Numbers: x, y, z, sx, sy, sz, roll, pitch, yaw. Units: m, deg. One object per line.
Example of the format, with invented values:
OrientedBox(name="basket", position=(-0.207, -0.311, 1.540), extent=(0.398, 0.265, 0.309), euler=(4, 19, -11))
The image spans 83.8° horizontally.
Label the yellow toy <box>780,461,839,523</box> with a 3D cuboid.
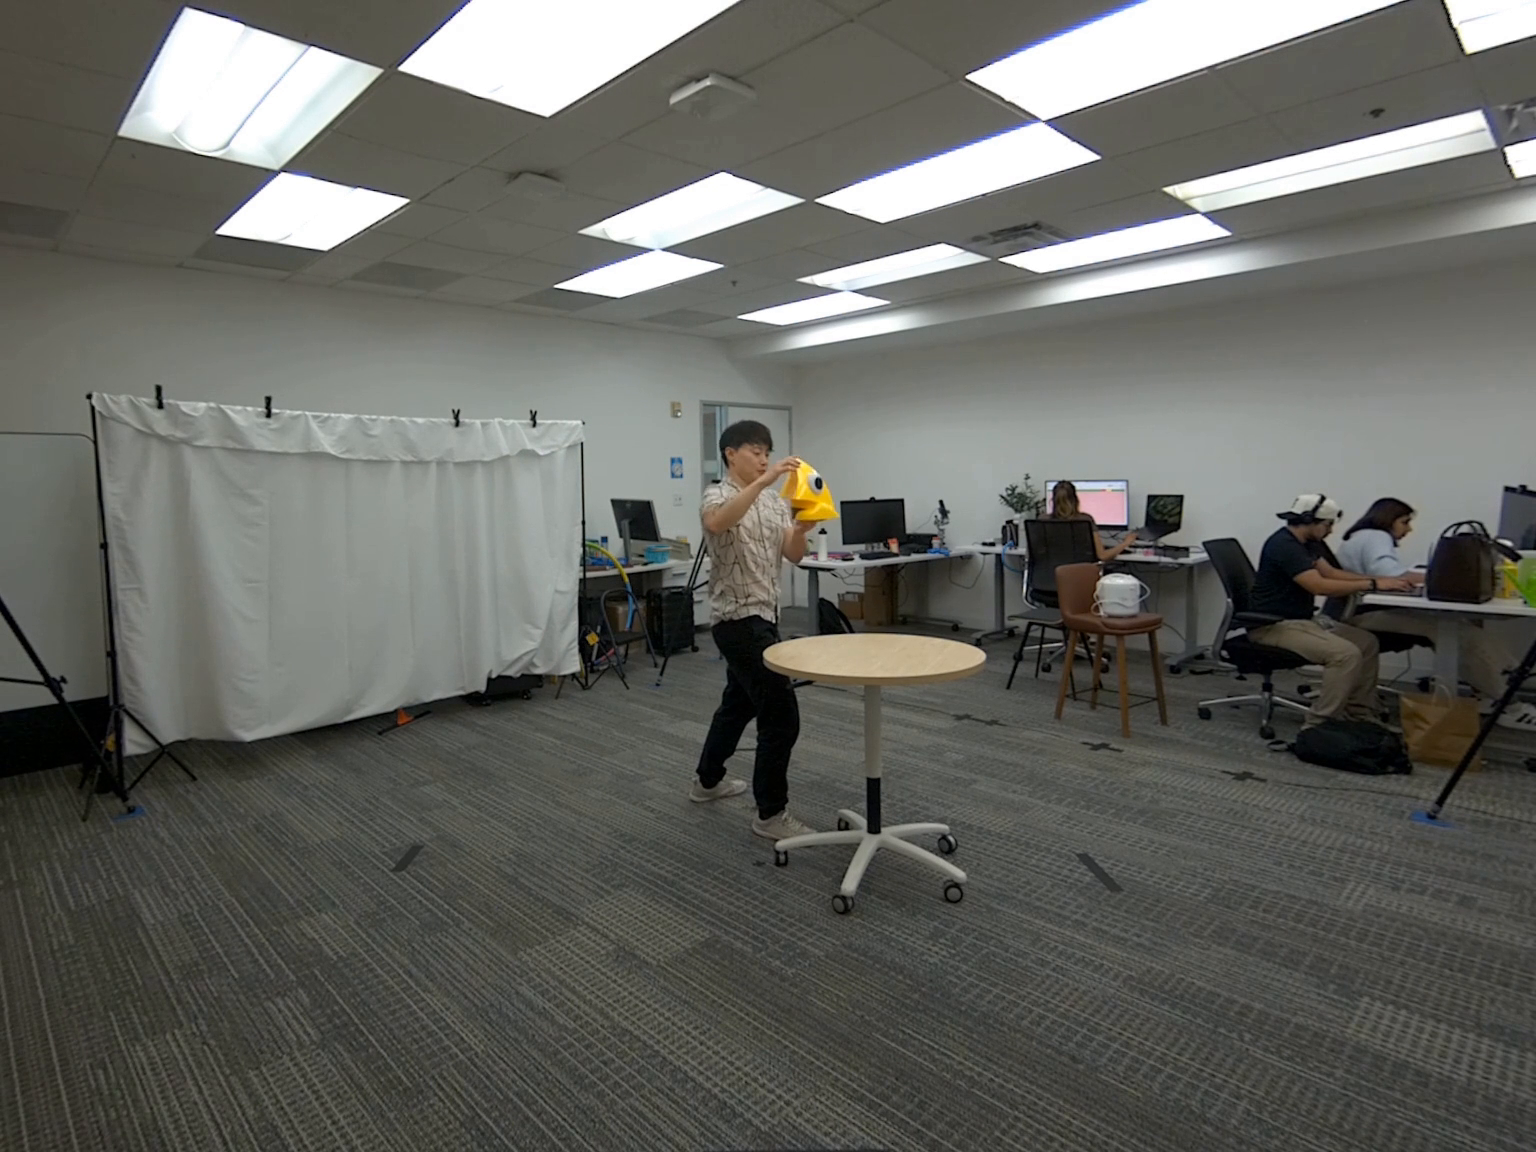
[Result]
OrientedBox(name="yellow toy", position=(0.148, -0.327, 3.172), extent=(0.190, 0.229, 0.209), euler=(-4, 6, -16))
